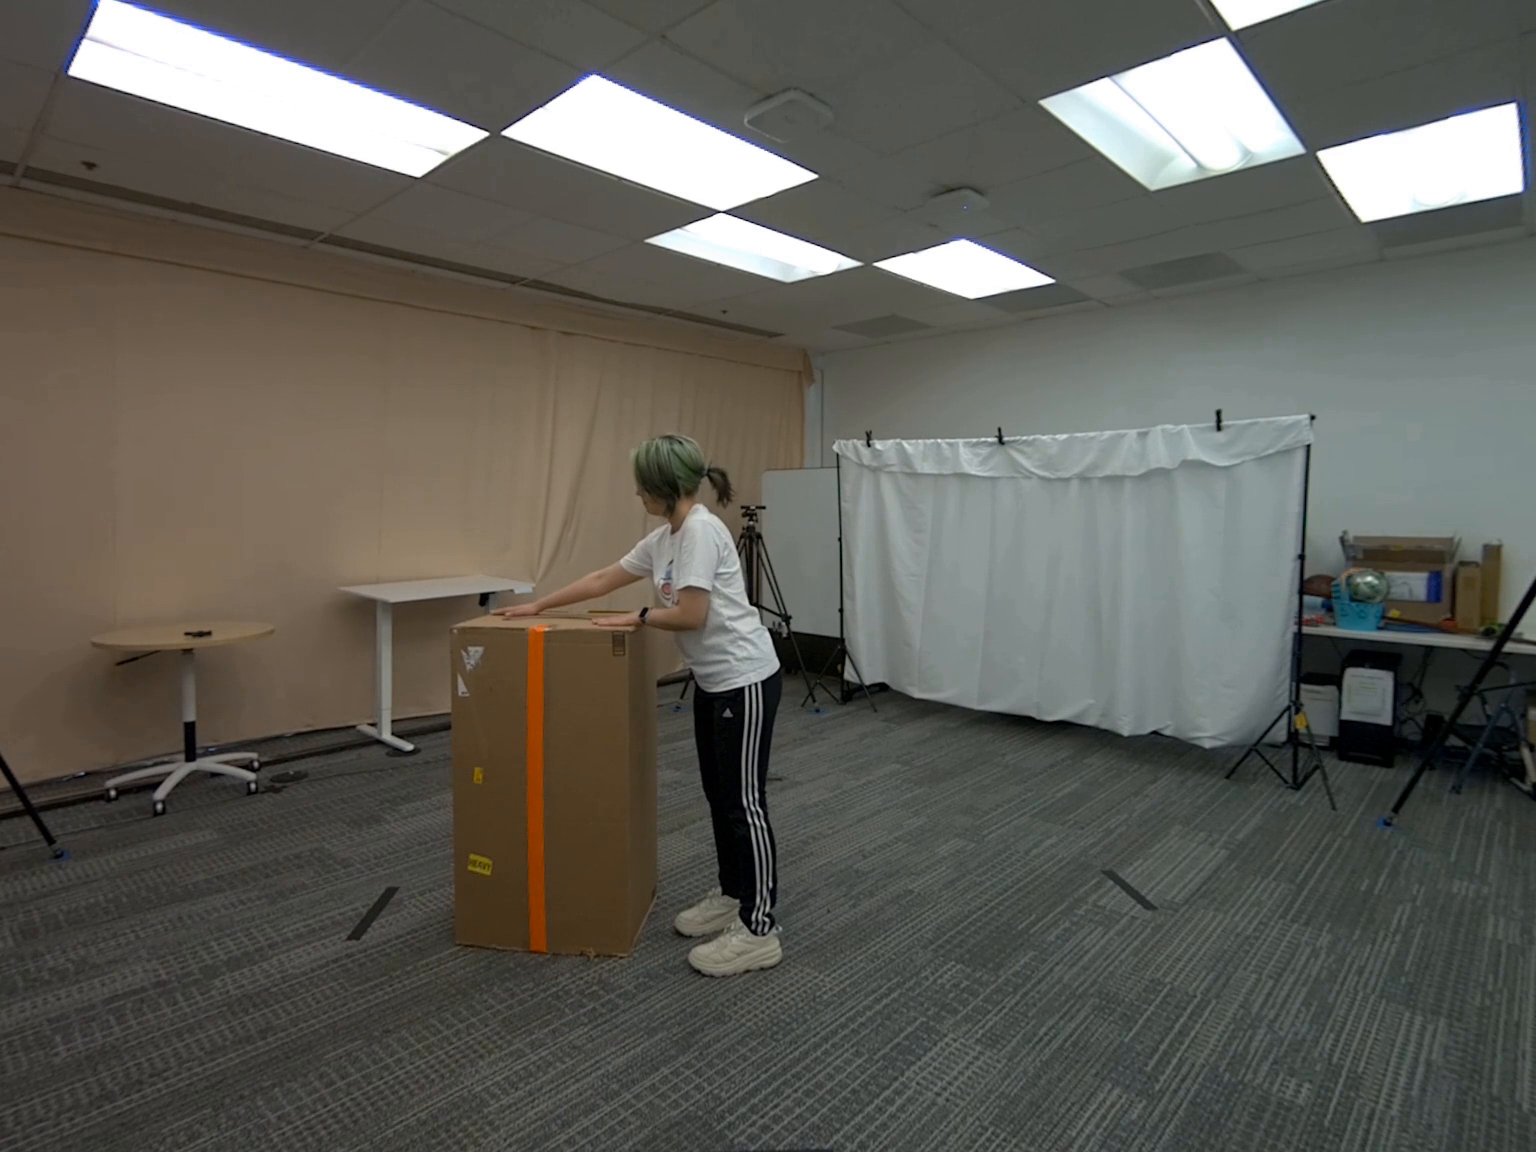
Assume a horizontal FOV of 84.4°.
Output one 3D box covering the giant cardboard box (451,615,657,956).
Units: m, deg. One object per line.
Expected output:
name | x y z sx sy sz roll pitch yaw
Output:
giant cardboard box | -0.699 0.656 2.824 0.589 1.026 0.444 1 2 7
